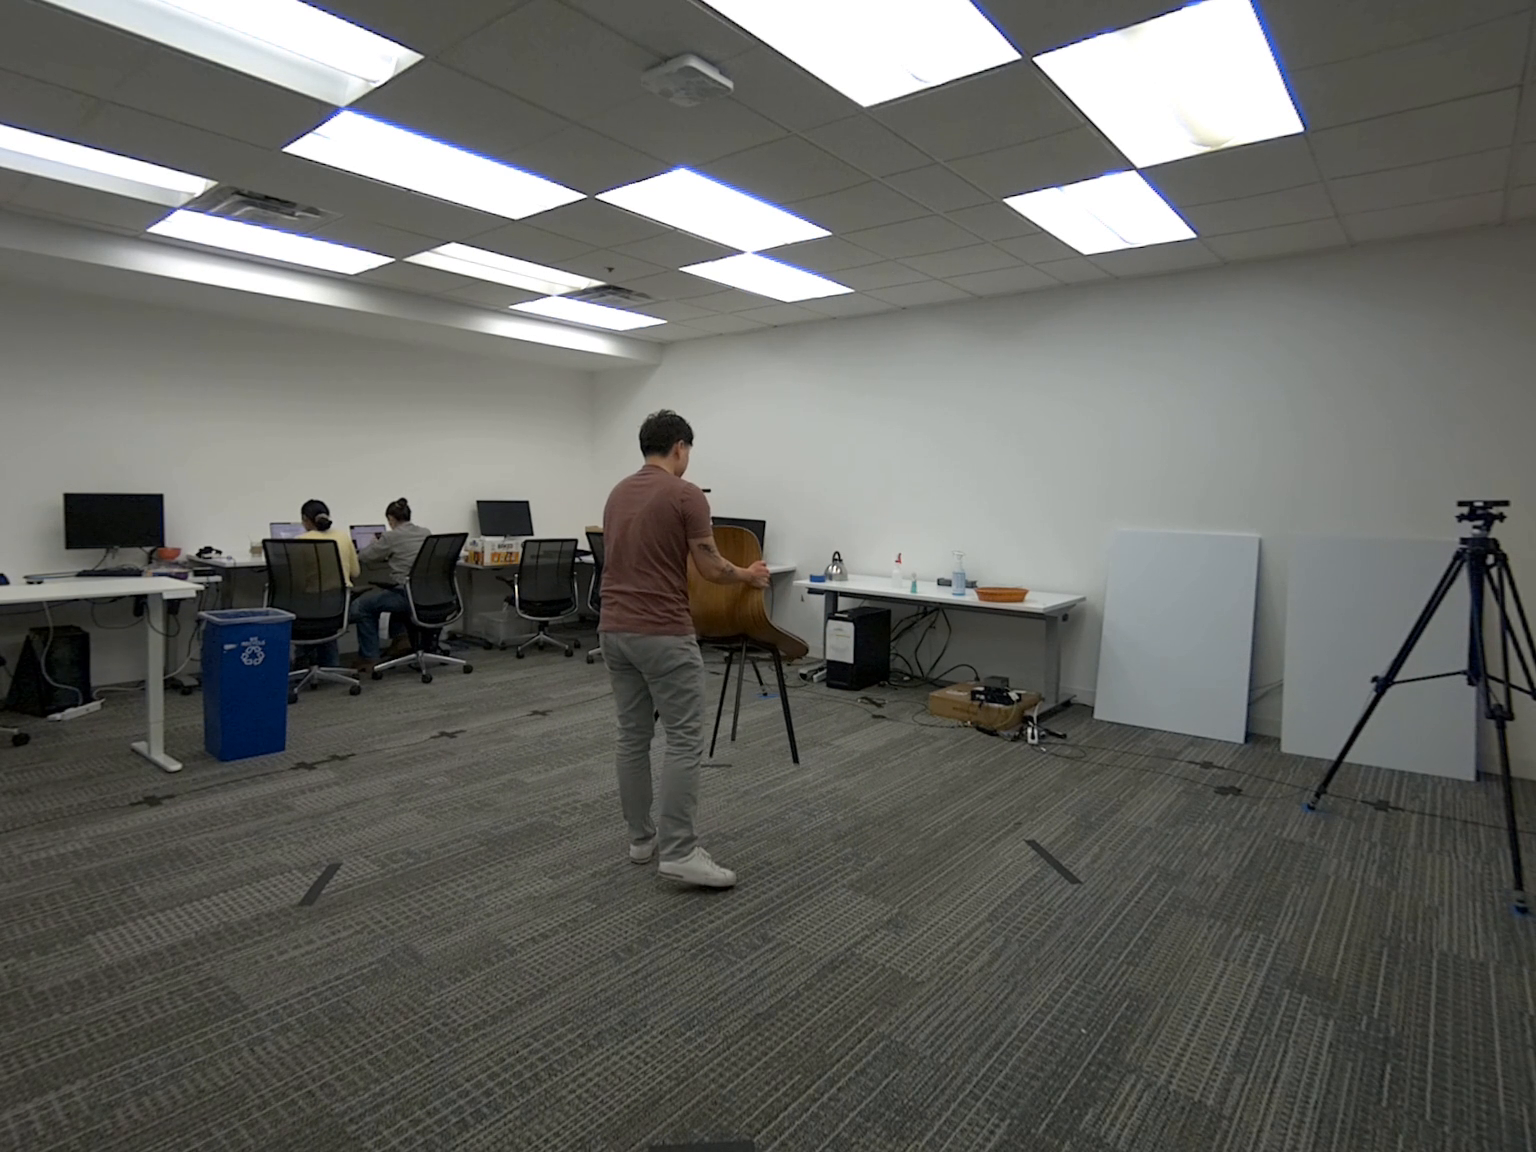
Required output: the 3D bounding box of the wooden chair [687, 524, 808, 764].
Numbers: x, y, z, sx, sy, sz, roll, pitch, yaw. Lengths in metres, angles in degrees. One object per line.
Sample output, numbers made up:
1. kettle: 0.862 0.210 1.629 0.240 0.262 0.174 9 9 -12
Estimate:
1. wooden chair: -0.132 0.289 3.504 0.491 0.890 0.502 -8 -21 35
